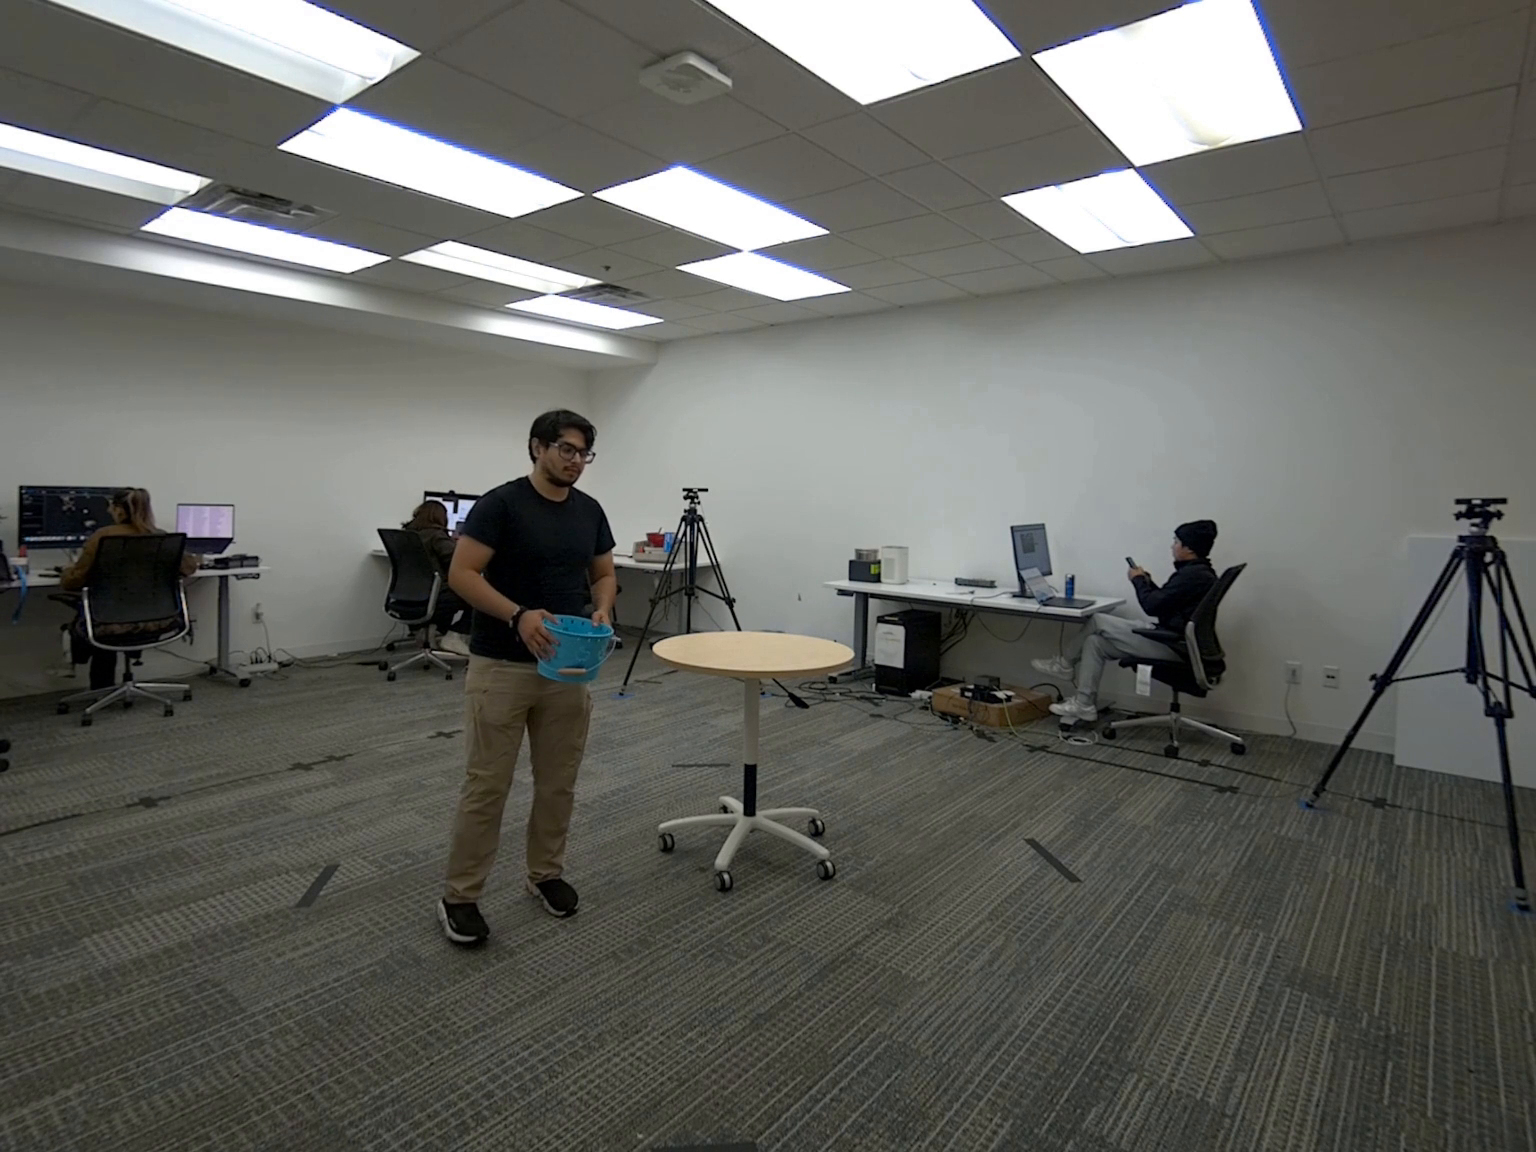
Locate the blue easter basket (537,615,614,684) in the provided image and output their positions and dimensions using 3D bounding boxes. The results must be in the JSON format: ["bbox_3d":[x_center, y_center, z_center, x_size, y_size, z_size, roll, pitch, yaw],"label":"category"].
[{"bbox_3d":[-0.624,0.226,2.557,0.243,0.155,0.245,9,6,-3],"label":"blue easter basket"}]
